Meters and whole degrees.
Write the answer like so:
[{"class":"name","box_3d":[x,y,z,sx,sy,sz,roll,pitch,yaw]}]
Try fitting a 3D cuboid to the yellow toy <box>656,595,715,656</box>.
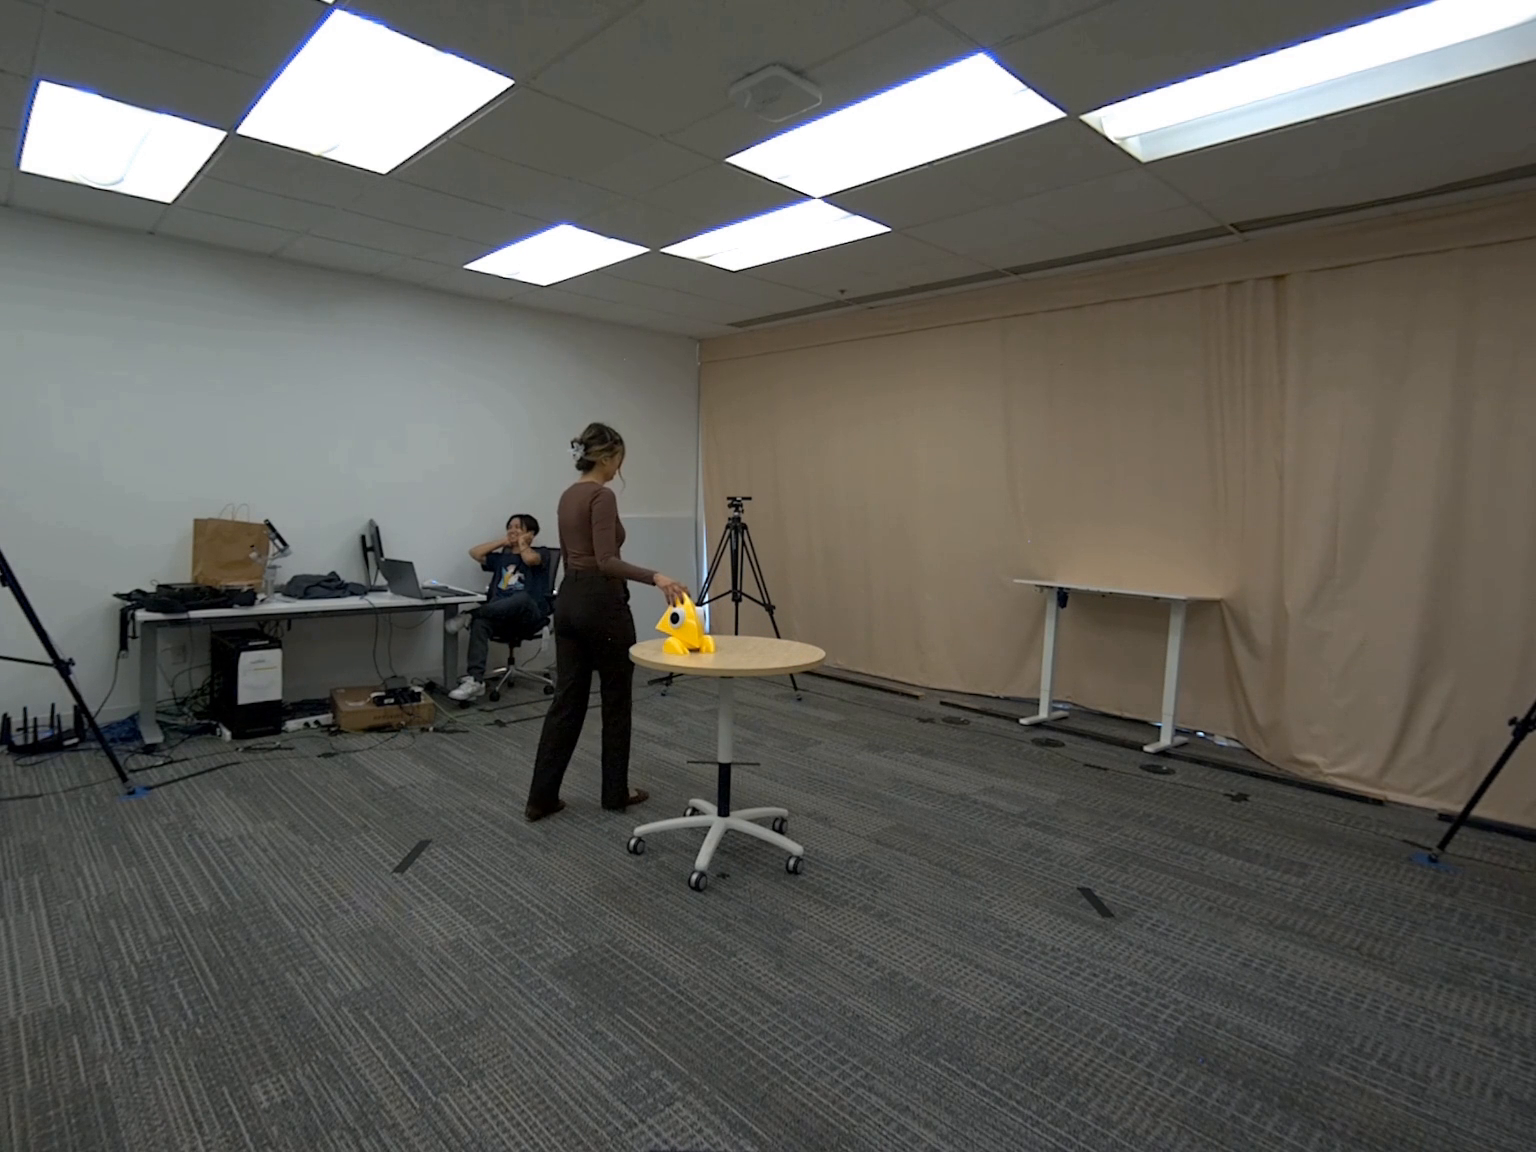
[{"class":"yellow toy","box_3d":[-0.316,0.177,3.274,0.201,0.230,0.197,0,4,-27]}]
